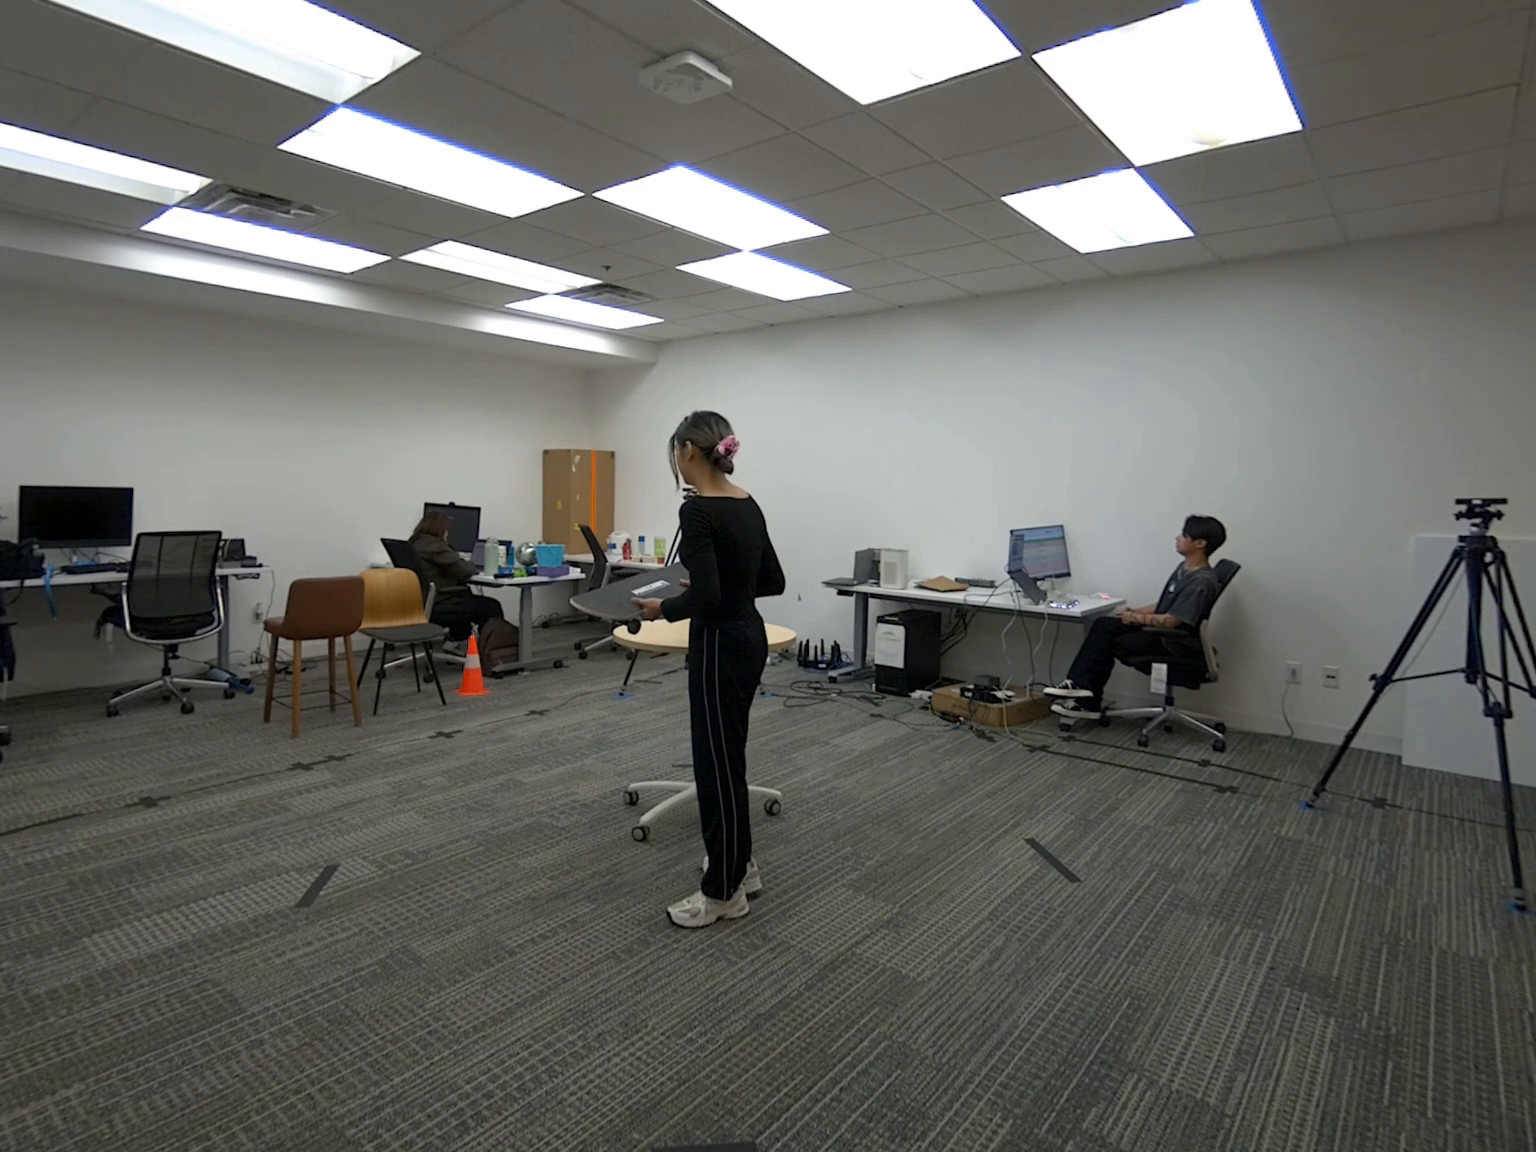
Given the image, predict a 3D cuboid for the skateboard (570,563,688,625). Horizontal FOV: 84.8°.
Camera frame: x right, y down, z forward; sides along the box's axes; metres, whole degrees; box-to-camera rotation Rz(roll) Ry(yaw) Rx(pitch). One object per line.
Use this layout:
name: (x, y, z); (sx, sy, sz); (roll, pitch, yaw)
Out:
skateboard: (-0.405, 0.073, 2.888); (0.199, 0.109, 0.772); (20, 19, 21)
